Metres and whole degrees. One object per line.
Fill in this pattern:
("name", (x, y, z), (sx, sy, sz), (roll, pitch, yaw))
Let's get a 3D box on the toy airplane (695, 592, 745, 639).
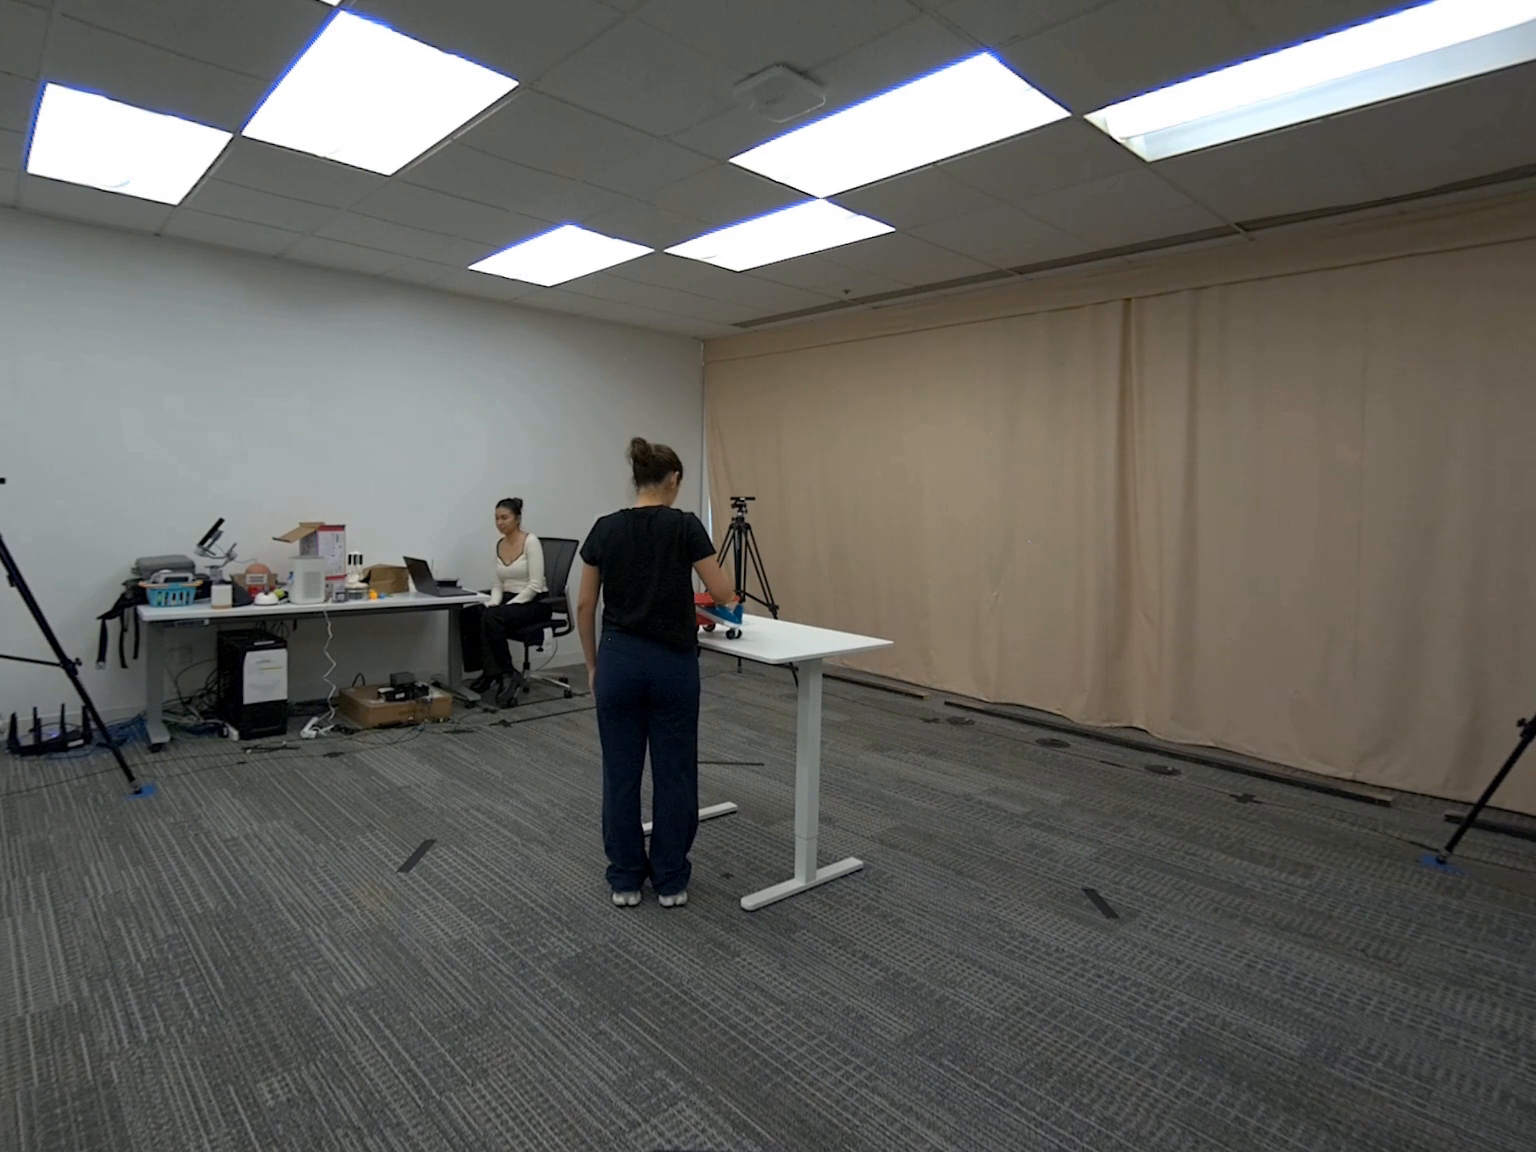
("toy airplane", (-0.183, 0.146, 3.128), (0.262, 0.156, 0.248), (2, 3, 14))
